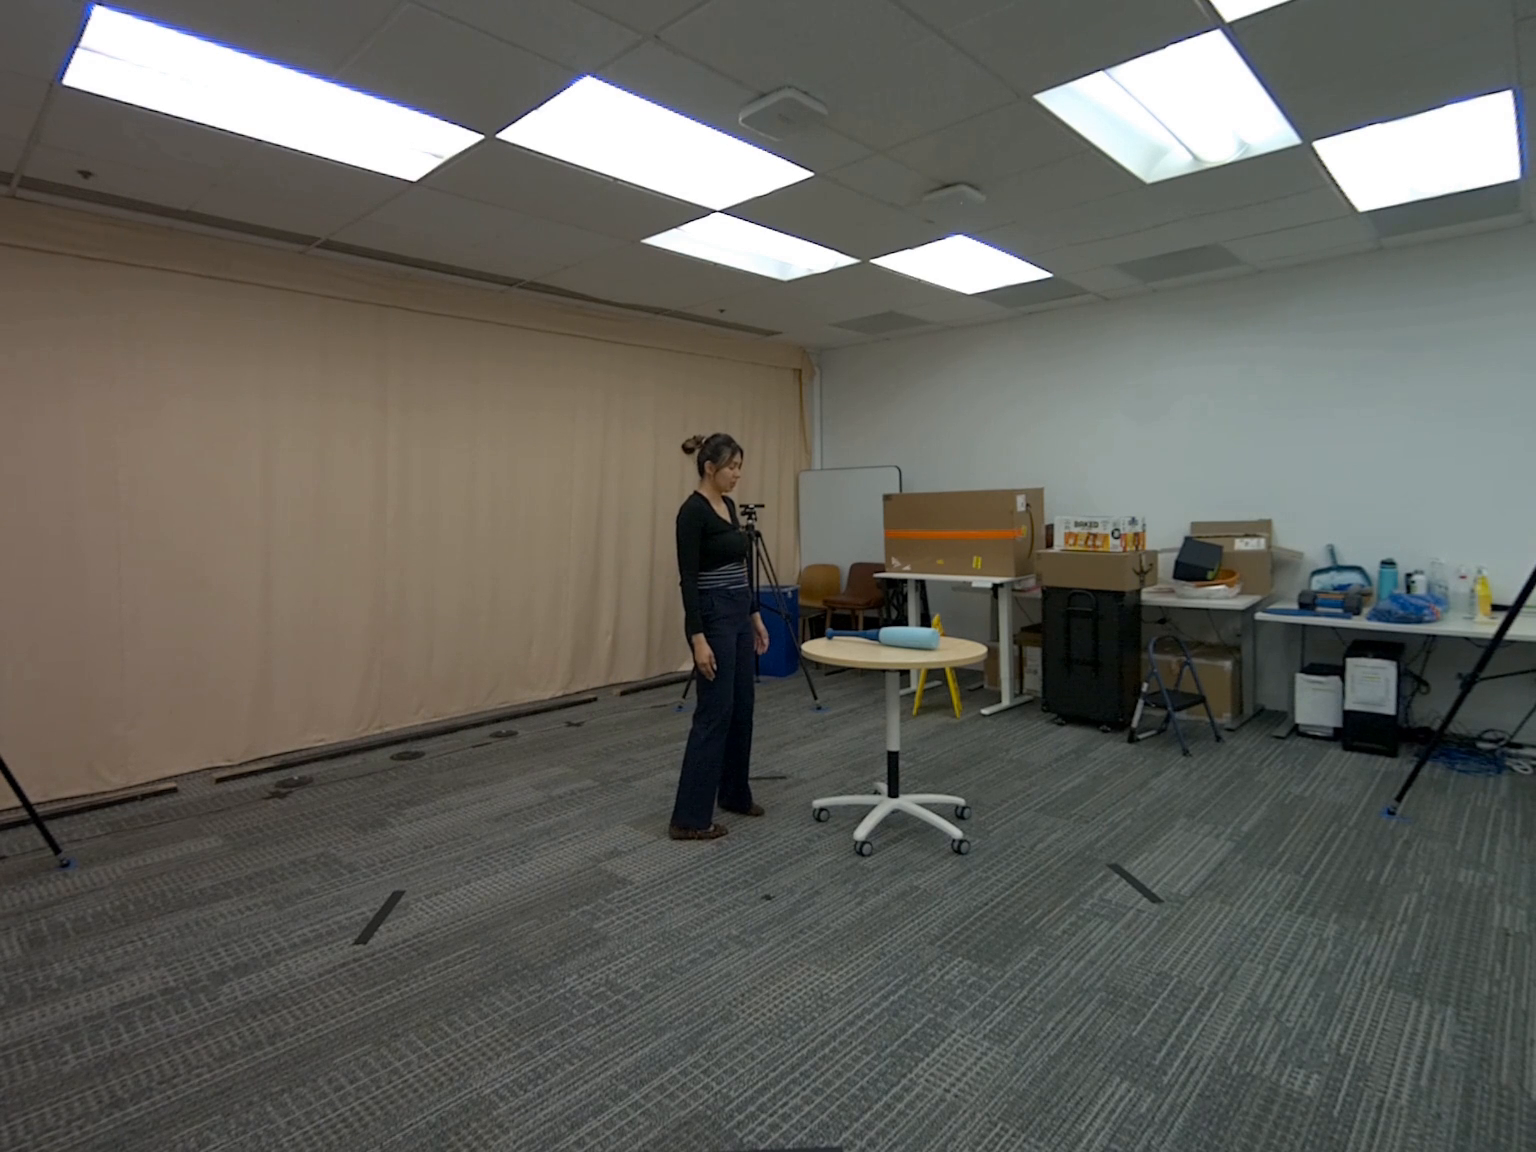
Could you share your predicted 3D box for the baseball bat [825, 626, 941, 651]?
[{"bbox_3d":[0.477,0.258,3.616,0.560,0.089,0.086,0,3,42],"label":"baseball bat"}]
